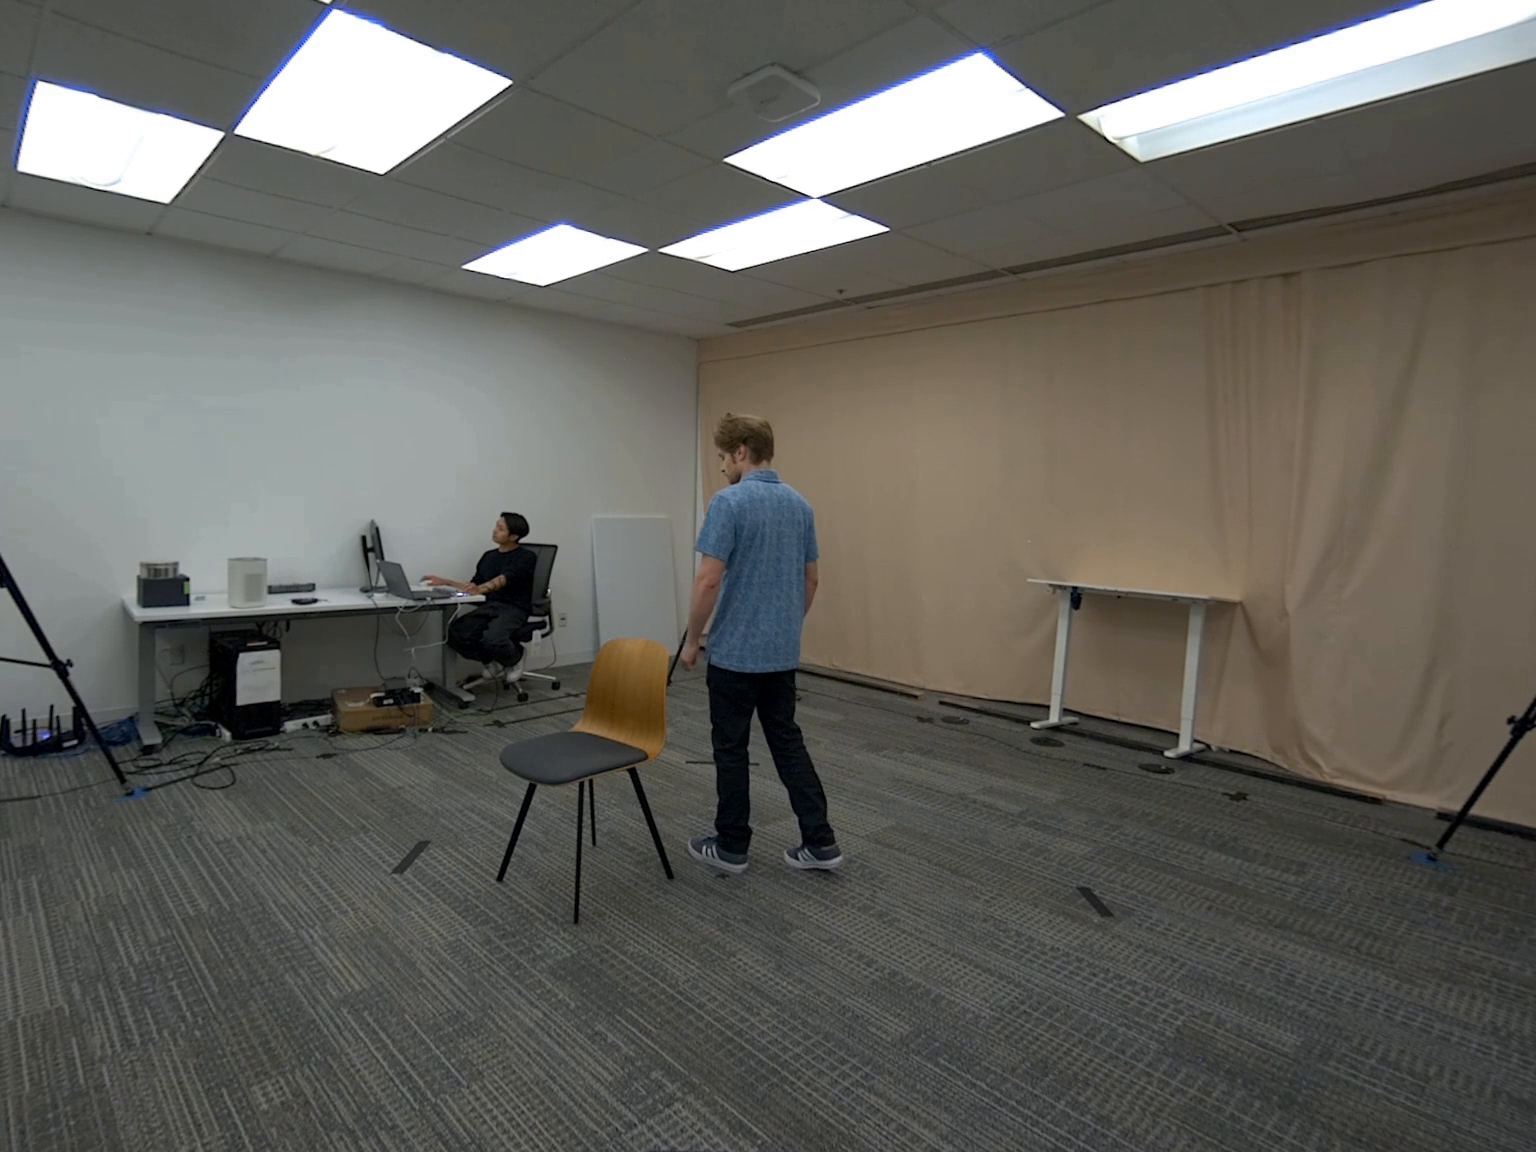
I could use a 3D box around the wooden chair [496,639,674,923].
[{"bbox_3d":[-0.655,0.680,3.001,0.490,0.877,0.510,4,0,40],"label":"wooden chair"}]
